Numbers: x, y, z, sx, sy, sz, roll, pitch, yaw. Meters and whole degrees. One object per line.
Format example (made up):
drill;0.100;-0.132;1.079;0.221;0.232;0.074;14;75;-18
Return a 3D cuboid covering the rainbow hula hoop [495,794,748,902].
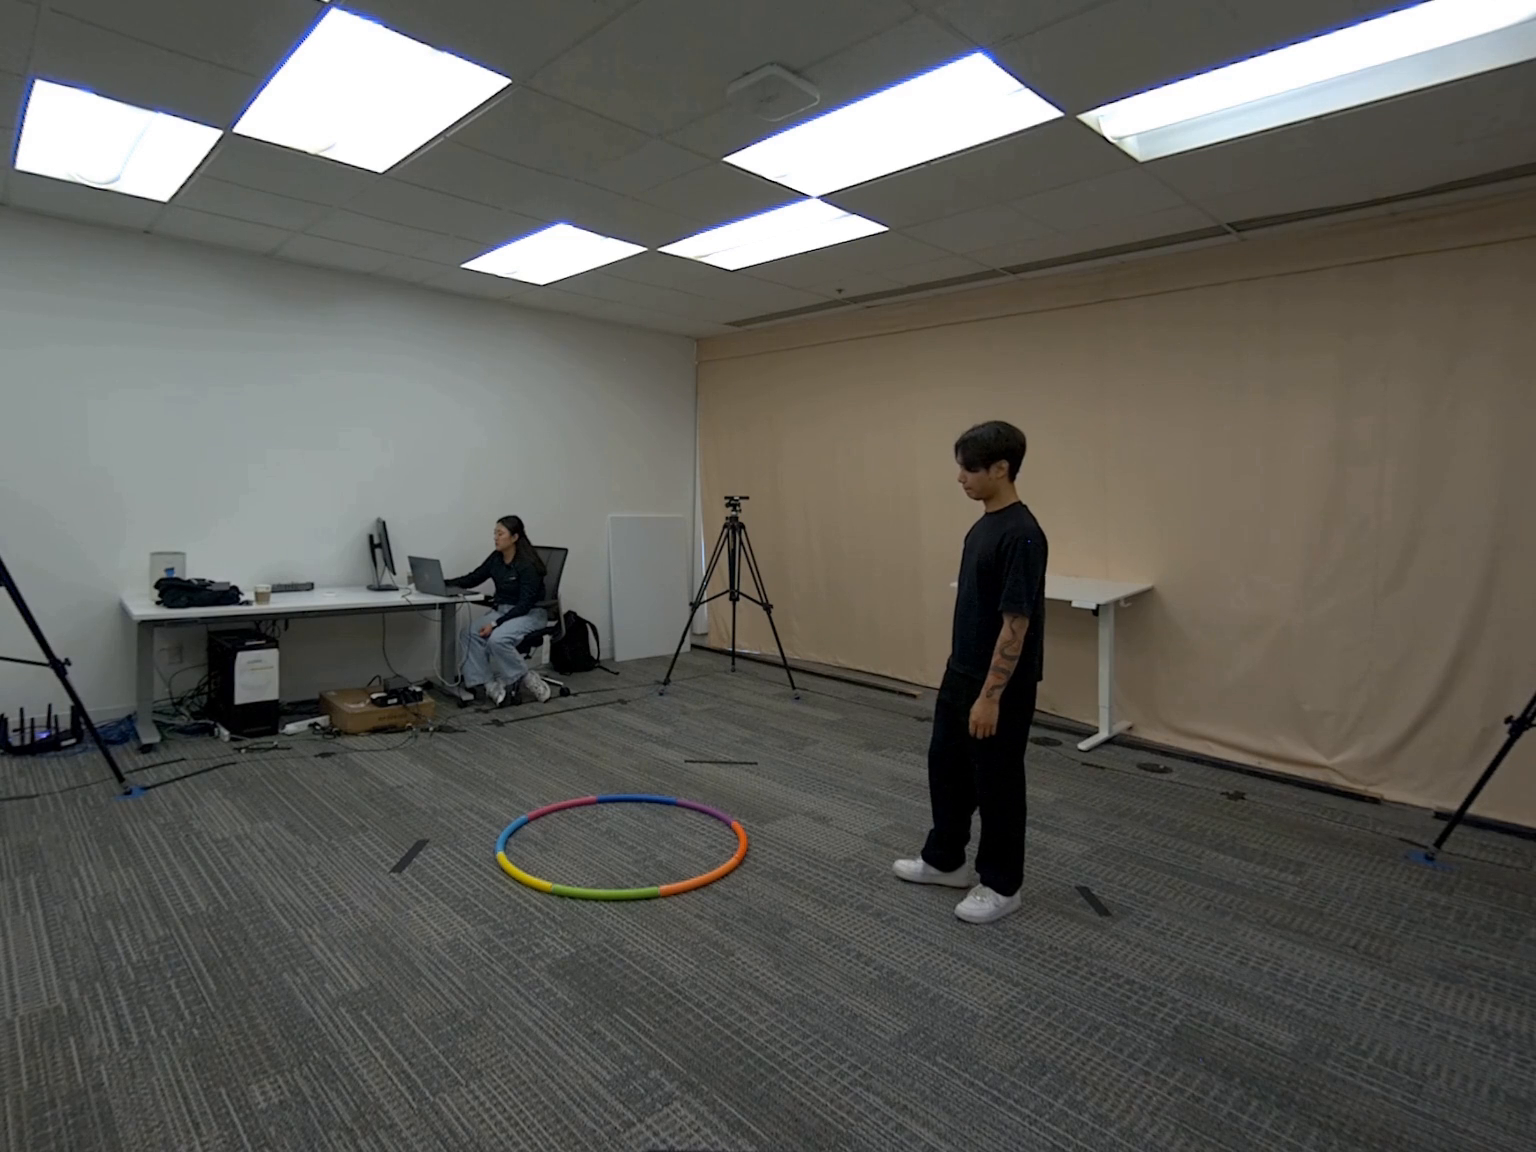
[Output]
rainbow hula hoop;-0.577;1.041;3.361;0.978;0.035;0.982;2;5;-1
